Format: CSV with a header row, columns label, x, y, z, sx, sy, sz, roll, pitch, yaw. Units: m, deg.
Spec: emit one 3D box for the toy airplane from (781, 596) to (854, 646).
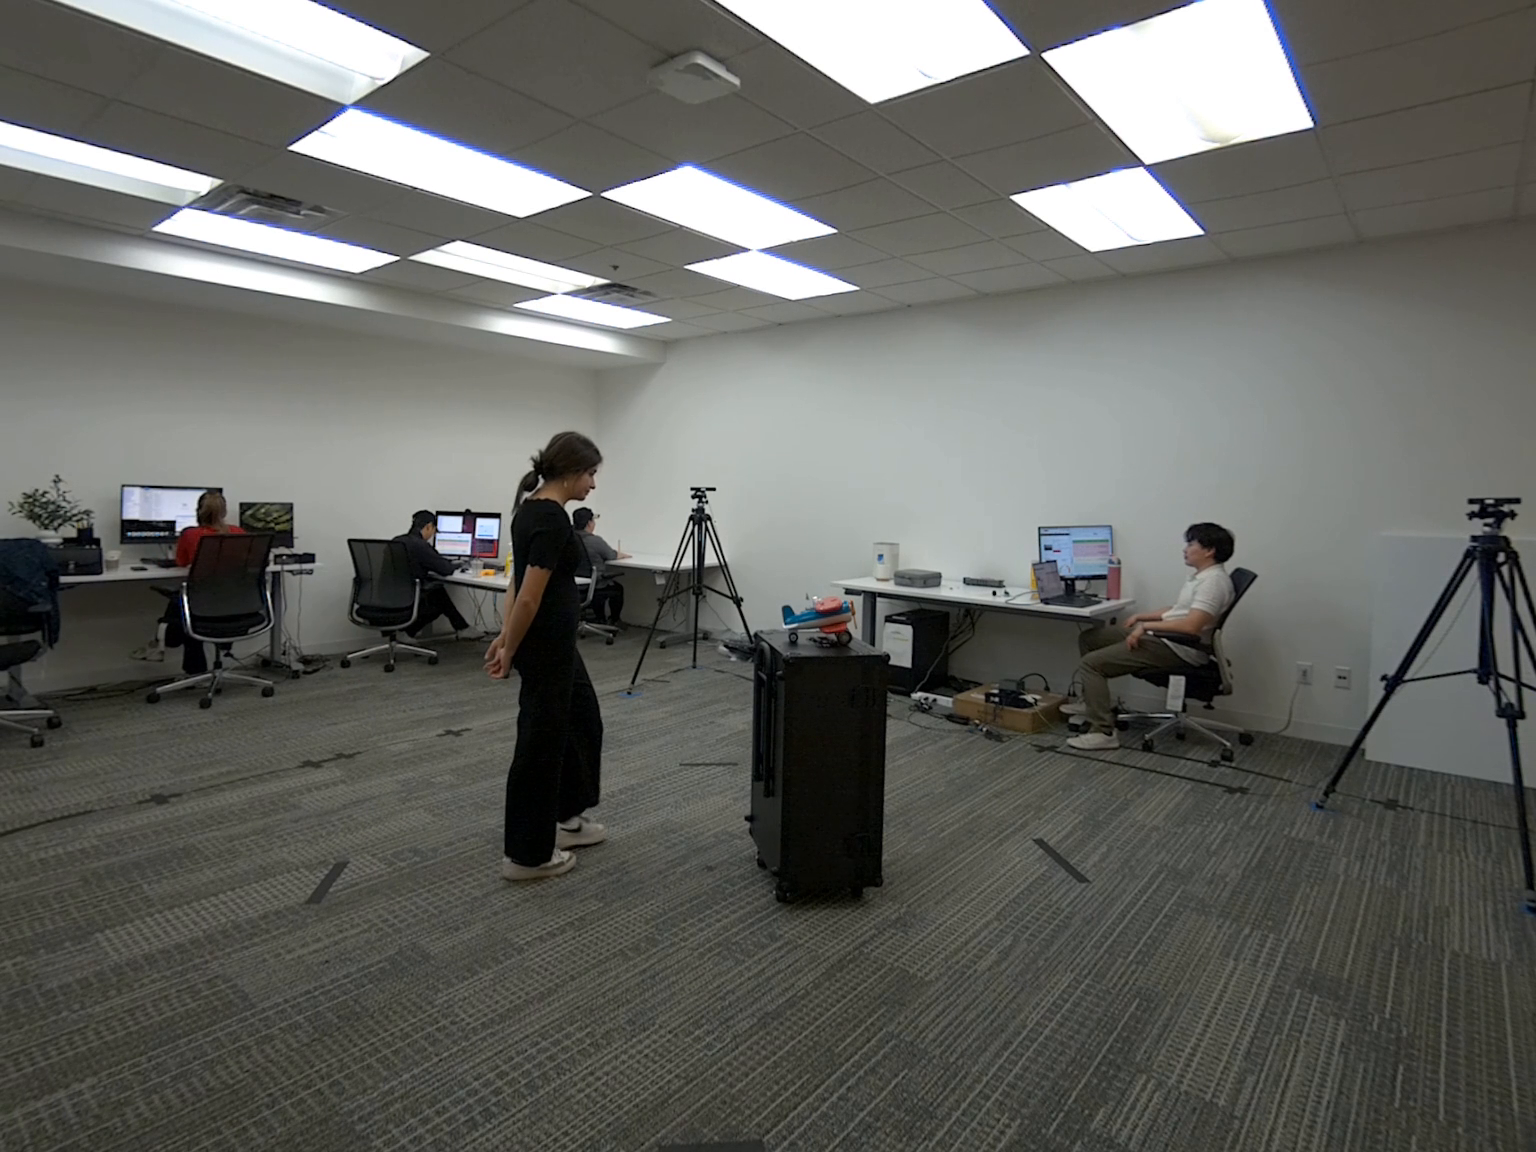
label,x,y,z,sx,sy,sz,roll,pitch,yaw
toy airplane,0.175,0.160,2.998,0.252,0.156,0.258,0,4,-28
